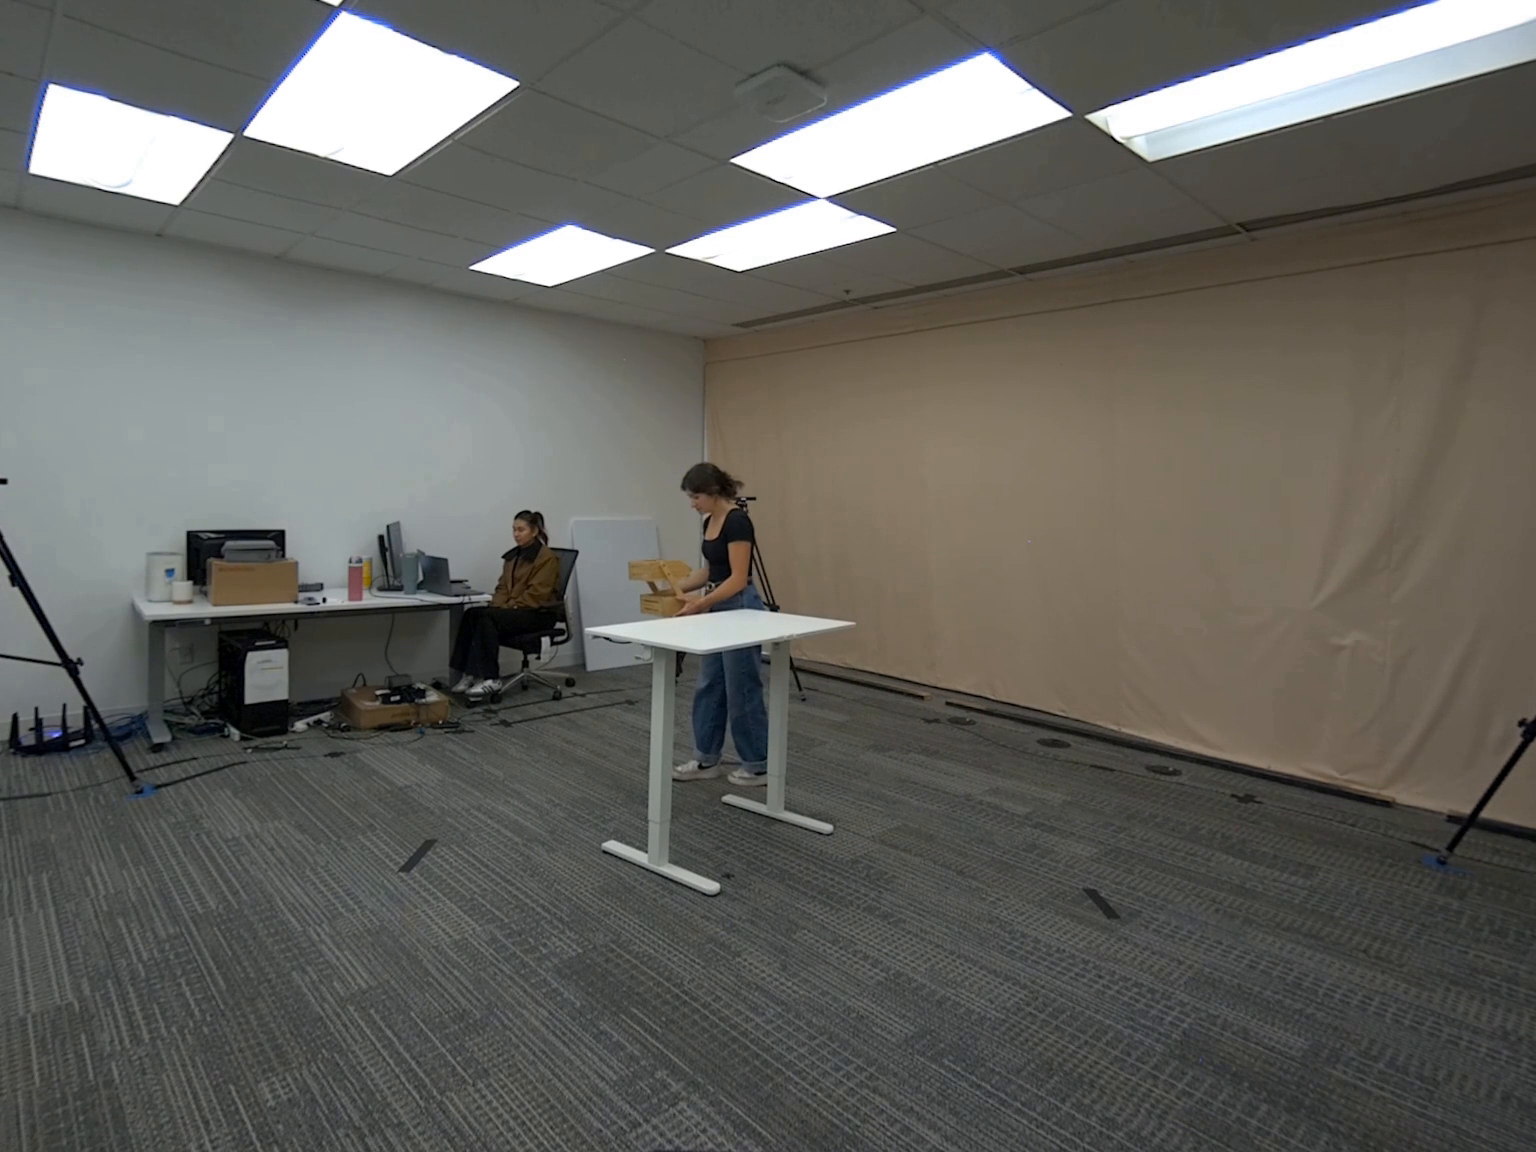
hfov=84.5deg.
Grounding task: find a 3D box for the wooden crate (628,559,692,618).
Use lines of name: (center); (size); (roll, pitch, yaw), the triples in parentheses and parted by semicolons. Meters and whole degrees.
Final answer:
wooden crate: (-0.480, 0.046, 4.053); (0.296, 0.273, 0.331); (-4, 3, -29)
